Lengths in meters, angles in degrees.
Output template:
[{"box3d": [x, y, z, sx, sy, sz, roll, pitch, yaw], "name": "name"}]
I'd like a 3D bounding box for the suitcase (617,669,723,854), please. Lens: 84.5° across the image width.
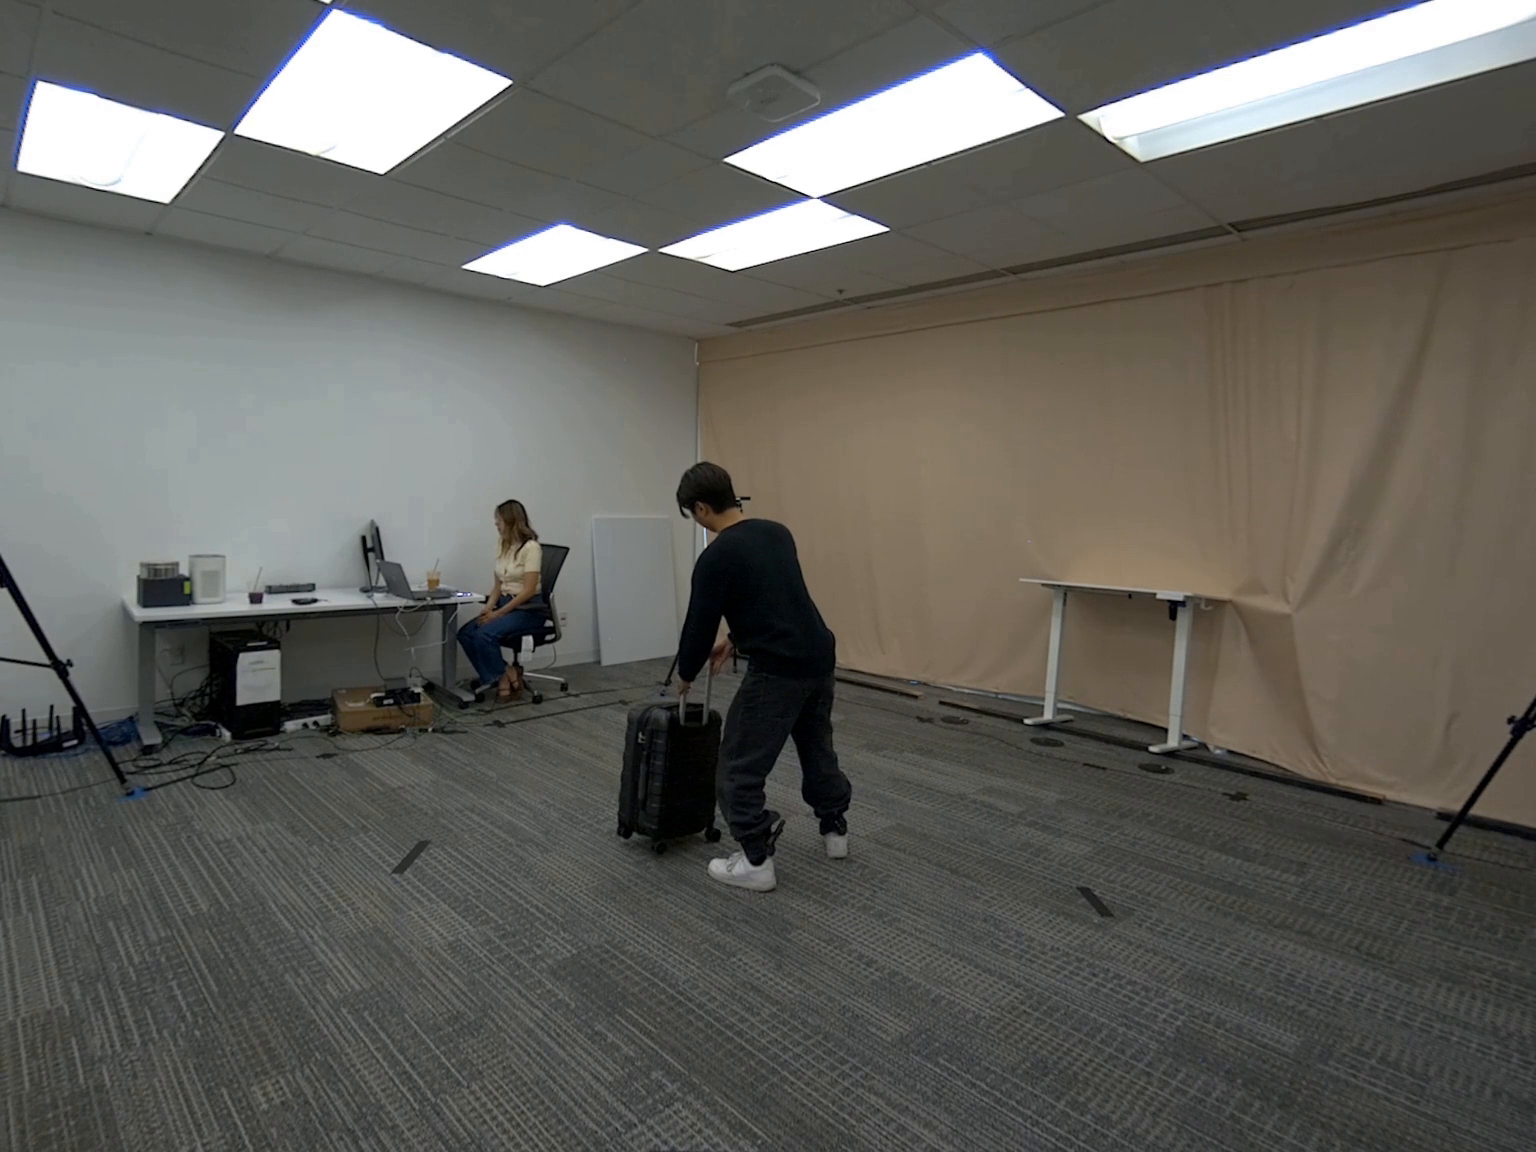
[{"box3d": [-0.383, 0.581, 3.401, 0.263, 0.980, 0.374, 2, -2, 44], "name": "suitcase"}]
